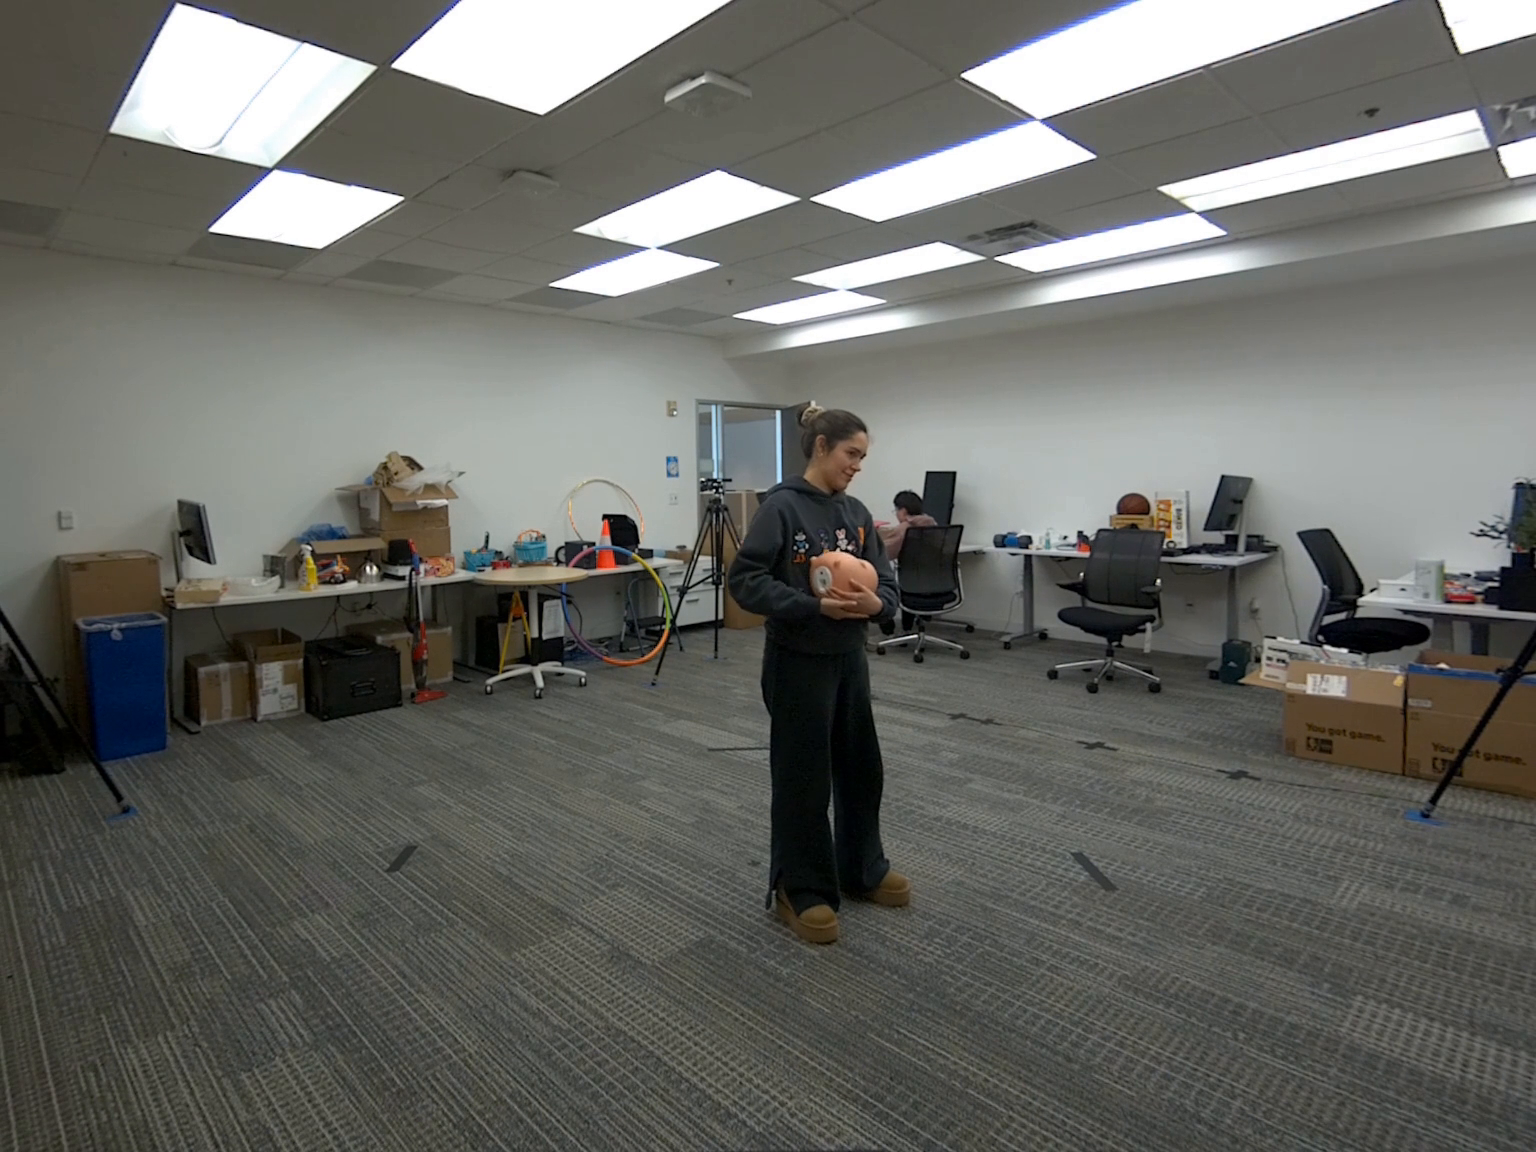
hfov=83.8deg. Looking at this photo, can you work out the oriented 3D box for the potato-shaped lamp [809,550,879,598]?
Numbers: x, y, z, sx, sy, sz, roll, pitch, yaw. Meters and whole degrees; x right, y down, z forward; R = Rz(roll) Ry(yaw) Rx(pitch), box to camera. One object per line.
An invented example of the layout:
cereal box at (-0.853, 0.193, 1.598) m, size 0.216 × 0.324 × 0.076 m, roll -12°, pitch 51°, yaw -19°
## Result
potato-shaped lamp at (0.231, 0.009, 2.509) m, size 0.193 × 0.171 × 0.170 m, roll -6°, pitch 6°, yaw -40°
